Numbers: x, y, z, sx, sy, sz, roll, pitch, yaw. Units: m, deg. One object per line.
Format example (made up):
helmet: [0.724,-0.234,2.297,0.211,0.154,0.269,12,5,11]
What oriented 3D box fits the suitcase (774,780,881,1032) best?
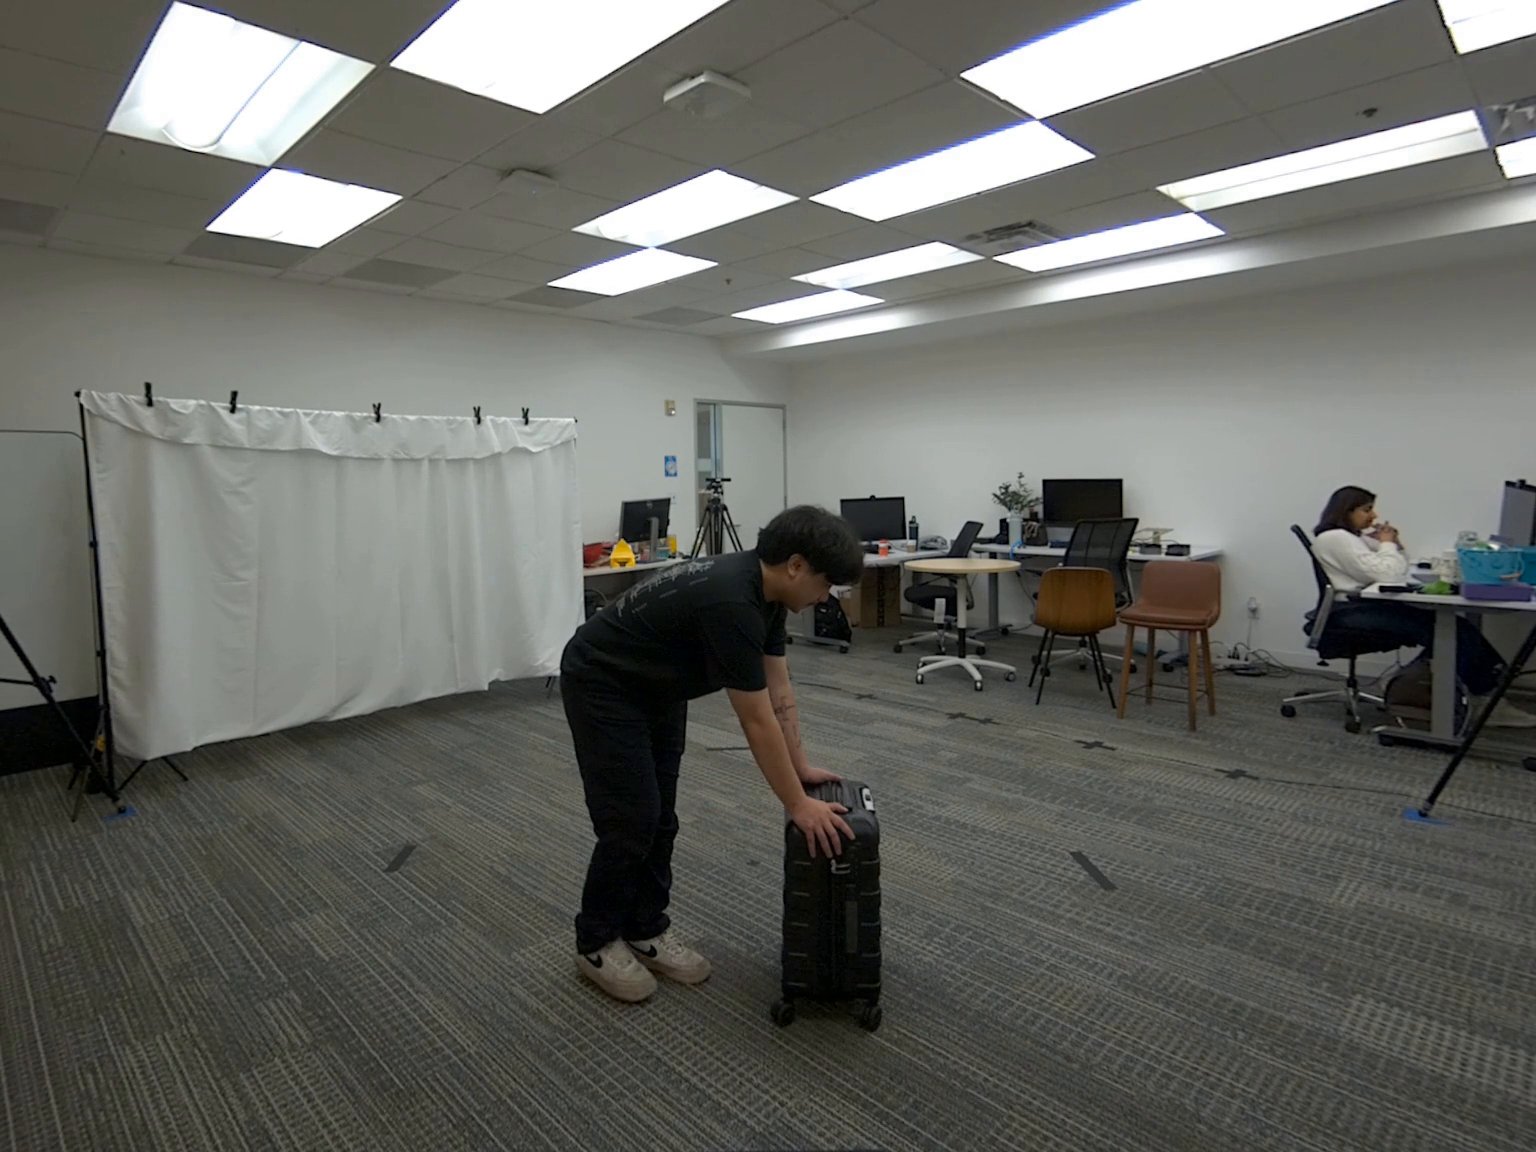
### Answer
suitcase: [0.171,0.850,2.325,0.249,0.548,0.375,-1,3,3]
